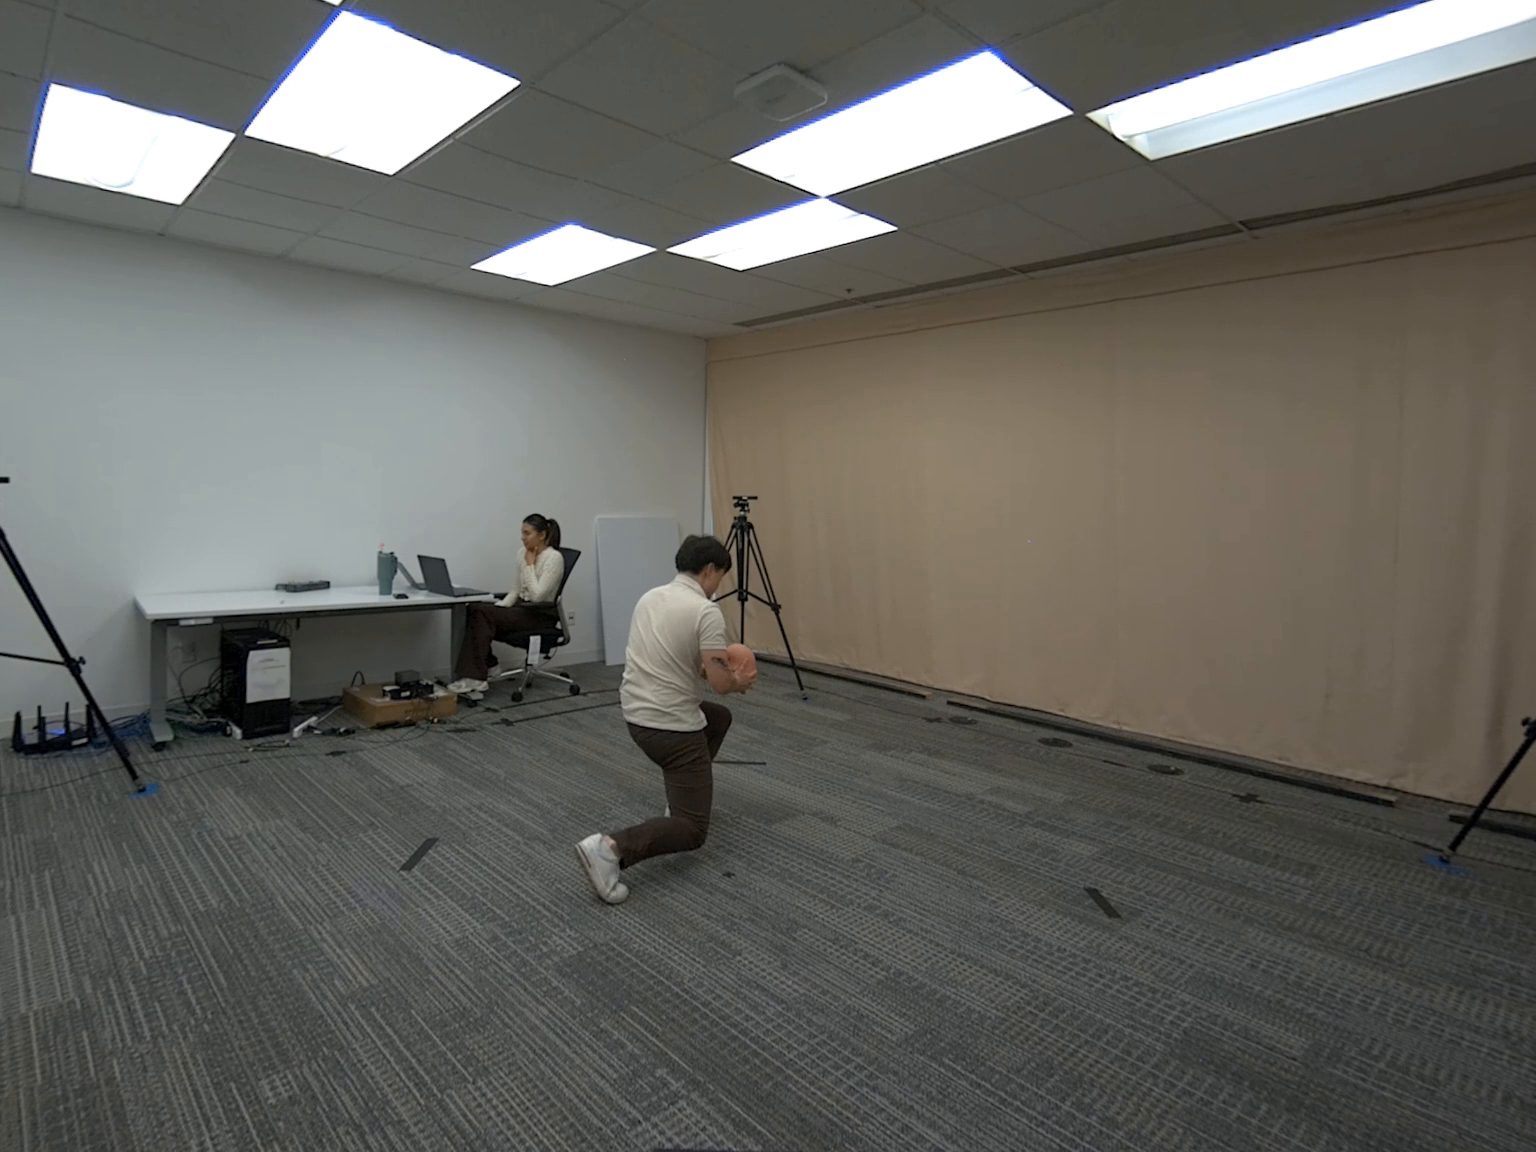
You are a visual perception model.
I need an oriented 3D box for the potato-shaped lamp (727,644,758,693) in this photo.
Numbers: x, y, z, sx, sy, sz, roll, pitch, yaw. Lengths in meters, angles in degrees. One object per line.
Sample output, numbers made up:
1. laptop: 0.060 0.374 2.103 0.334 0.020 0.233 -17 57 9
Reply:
1. potato-shaped lamp: -0.158 0.380 3.620 0.167 0.197 0.169 5 8 -41
